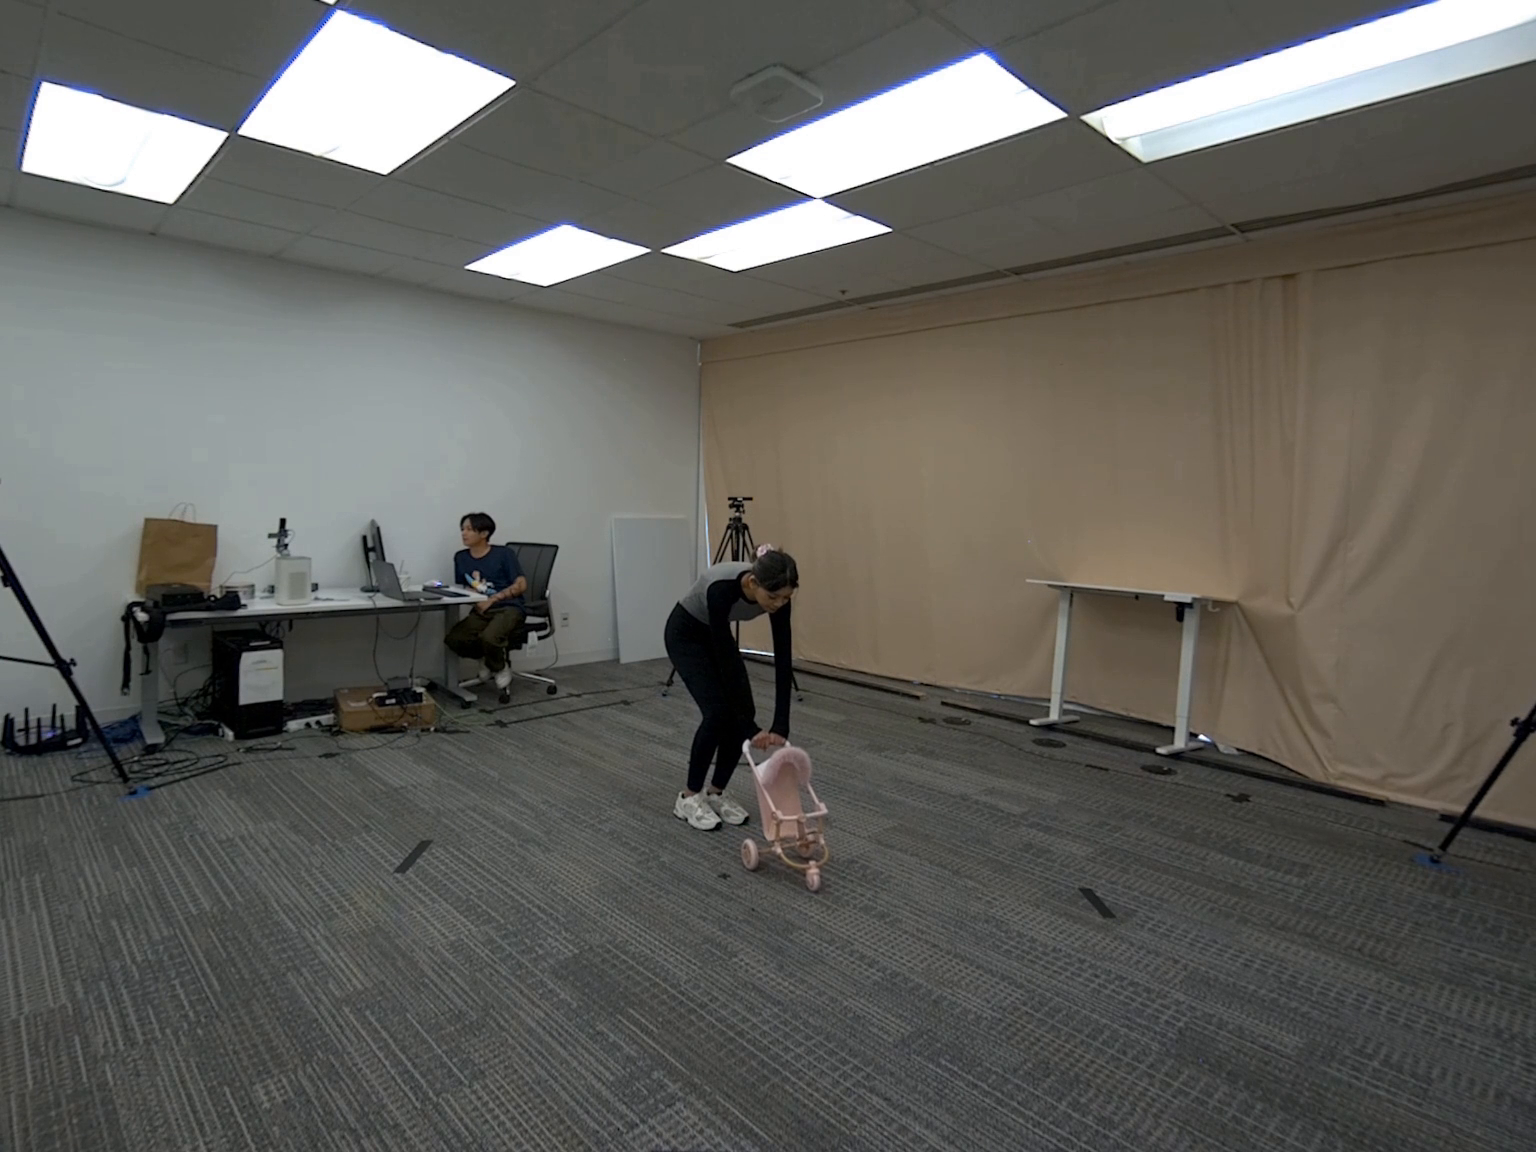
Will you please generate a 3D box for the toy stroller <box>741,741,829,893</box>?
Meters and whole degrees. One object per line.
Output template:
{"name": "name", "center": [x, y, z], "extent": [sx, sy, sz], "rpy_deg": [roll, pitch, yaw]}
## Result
{"name": "toy stroller", "center": [0.070, 0.879, 3.154], "extent": [0.276, 0.539, 0.345], "rpy_deg": [0, -10, -25]}
